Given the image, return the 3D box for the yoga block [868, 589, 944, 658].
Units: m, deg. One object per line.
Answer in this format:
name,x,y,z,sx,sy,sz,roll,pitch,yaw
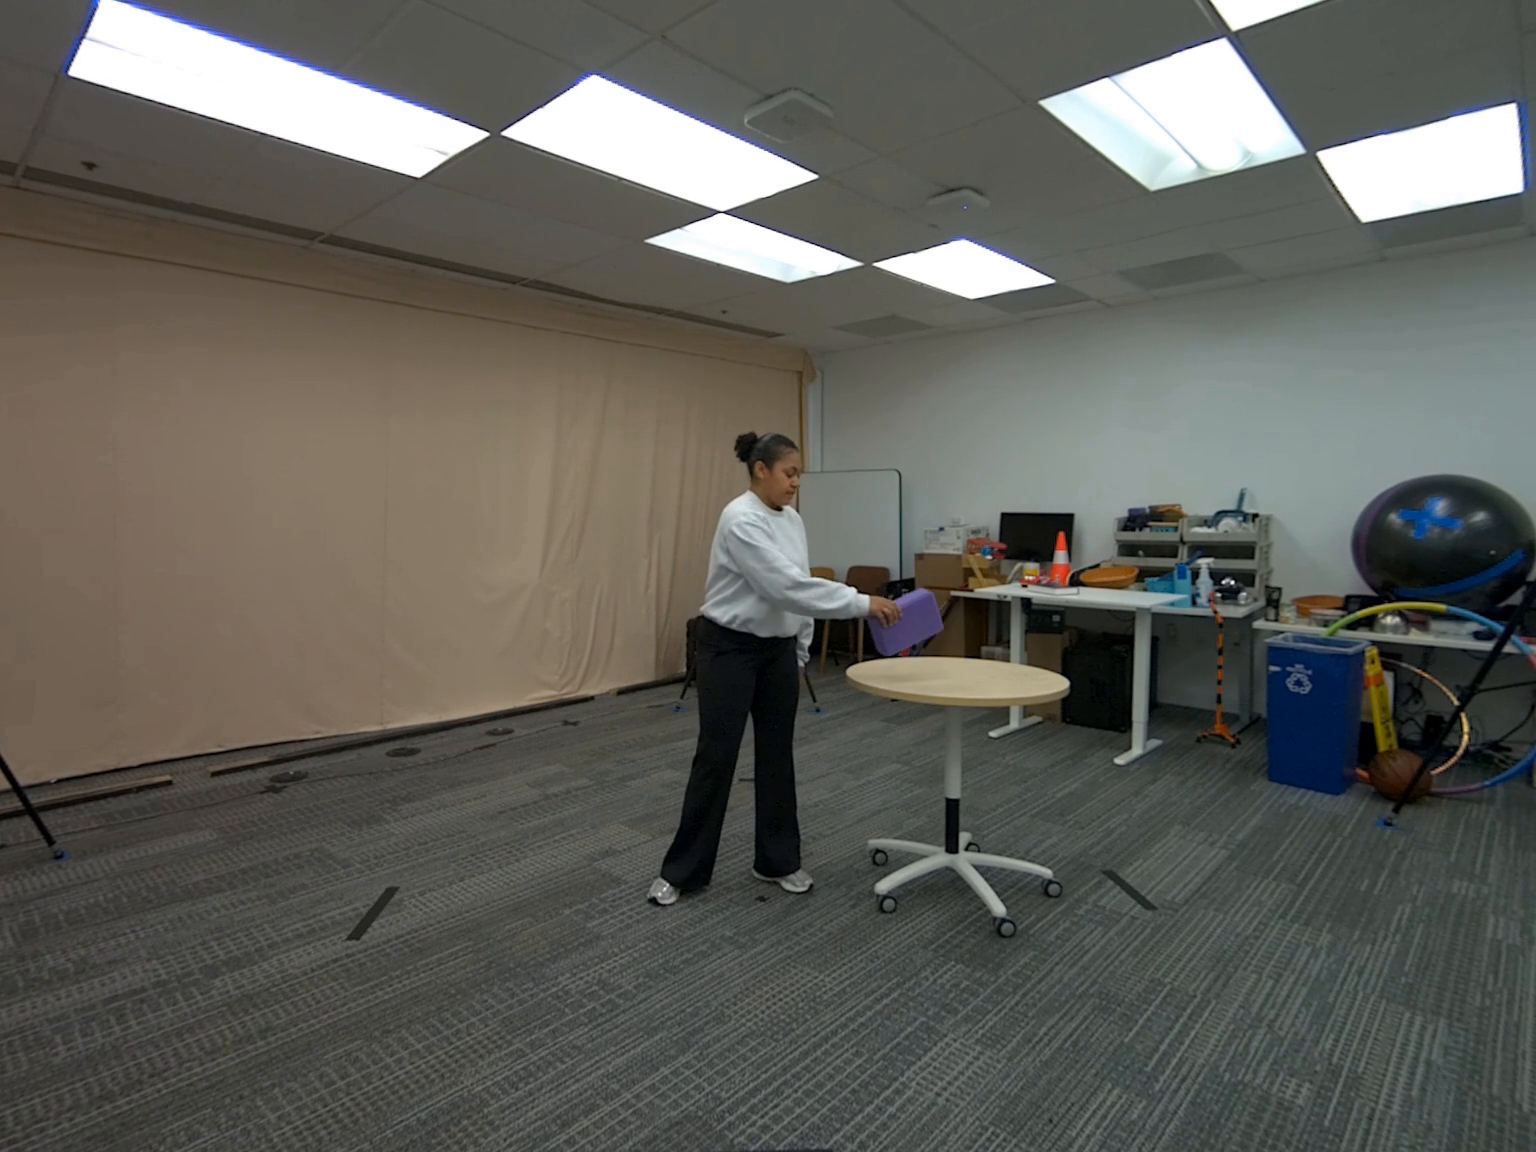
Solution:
yoga block,0.449,0.172,2.813,0.228,0.147,0.078,-24,14,-7
